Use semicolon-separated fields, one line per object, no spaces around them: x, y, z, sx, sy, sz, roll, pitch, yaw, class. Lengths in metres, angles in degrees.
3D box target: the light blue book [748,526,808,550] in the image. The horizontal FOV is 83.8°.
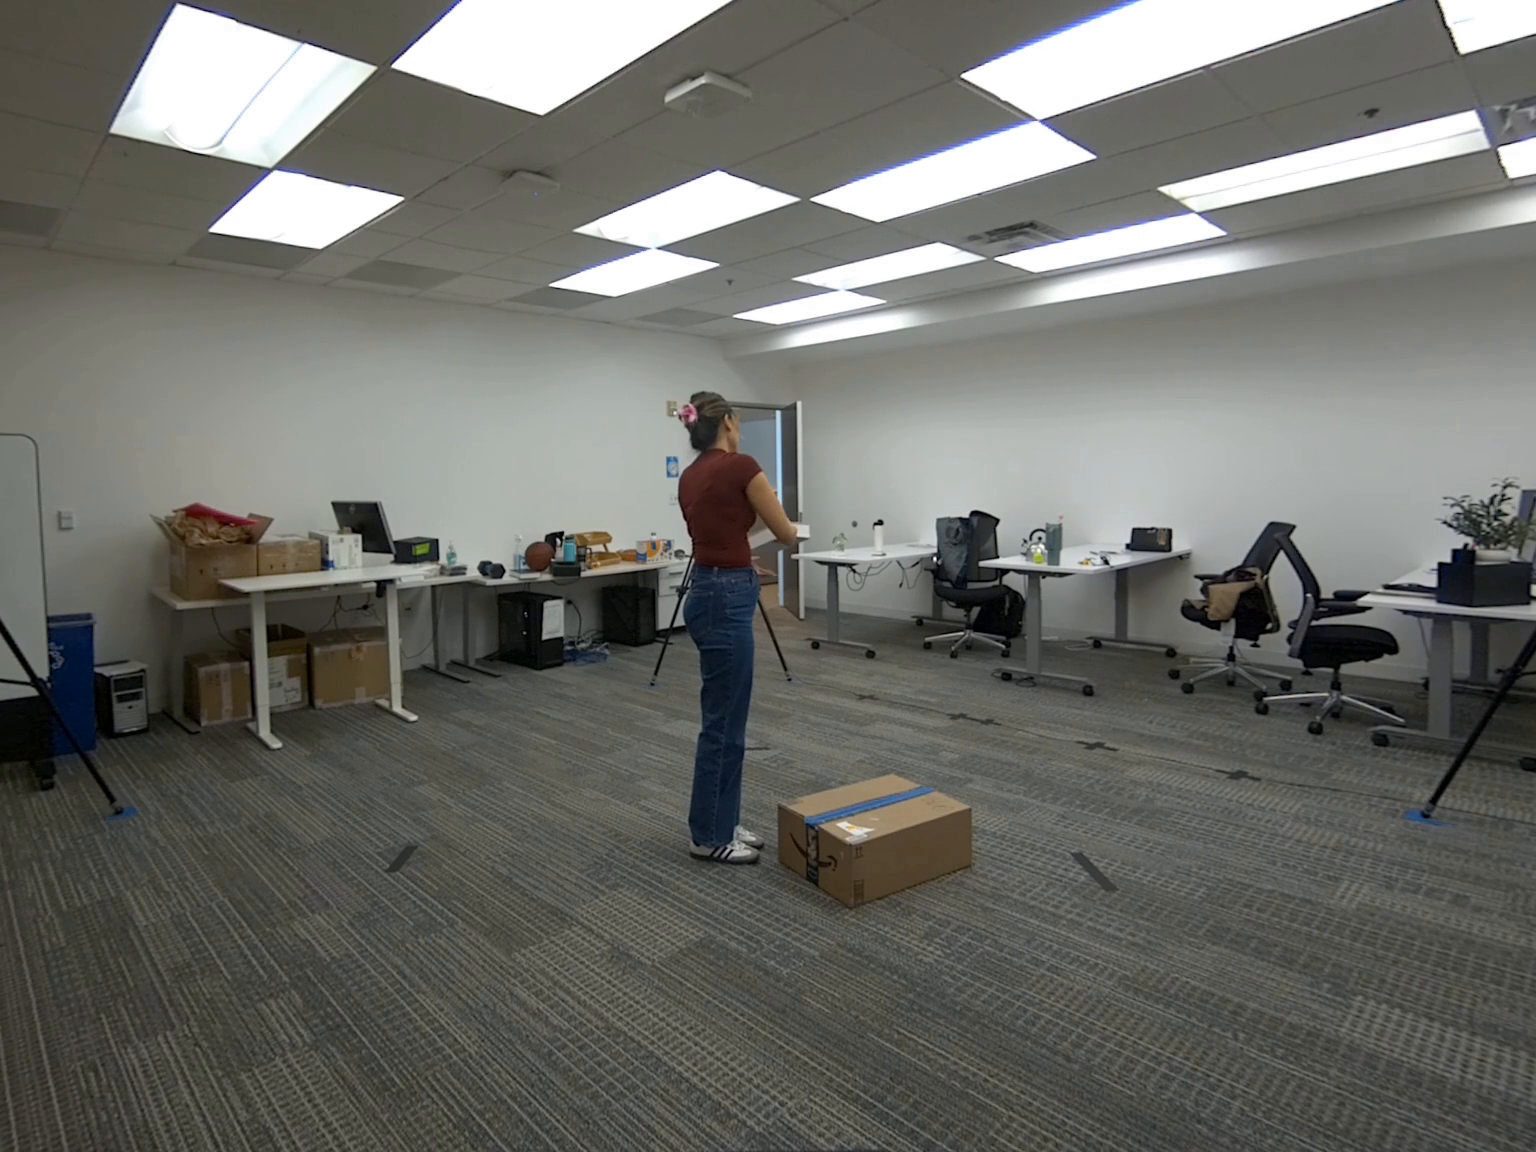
0.048;-0.167;3.564;0.194;0.060;0.254;-21;-9;29;light blue book
